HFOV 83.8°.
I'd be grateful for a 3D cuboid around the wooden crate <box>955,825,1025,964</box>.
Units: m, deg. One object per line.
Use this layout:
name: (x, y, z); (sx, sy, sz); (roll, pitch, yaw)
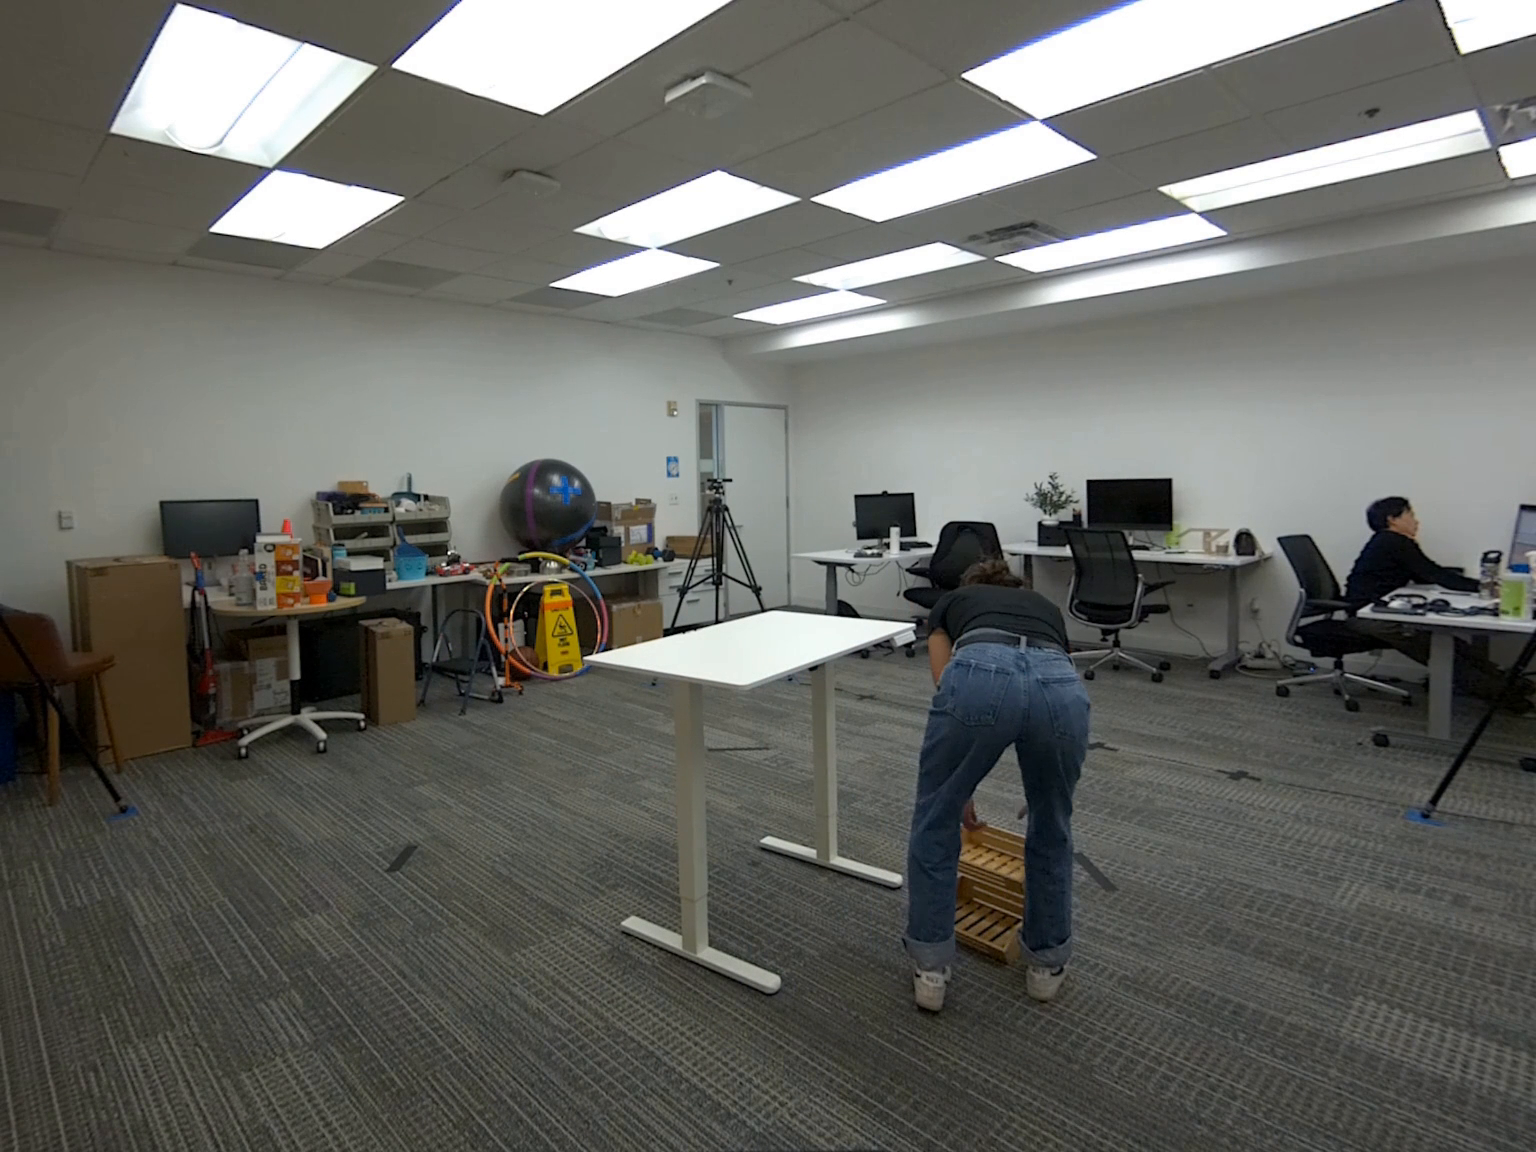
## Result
wooden crate: (0.680, 0.957, 2.622); (0.294, 0.272, 0.334); (-4, 6, -42)
